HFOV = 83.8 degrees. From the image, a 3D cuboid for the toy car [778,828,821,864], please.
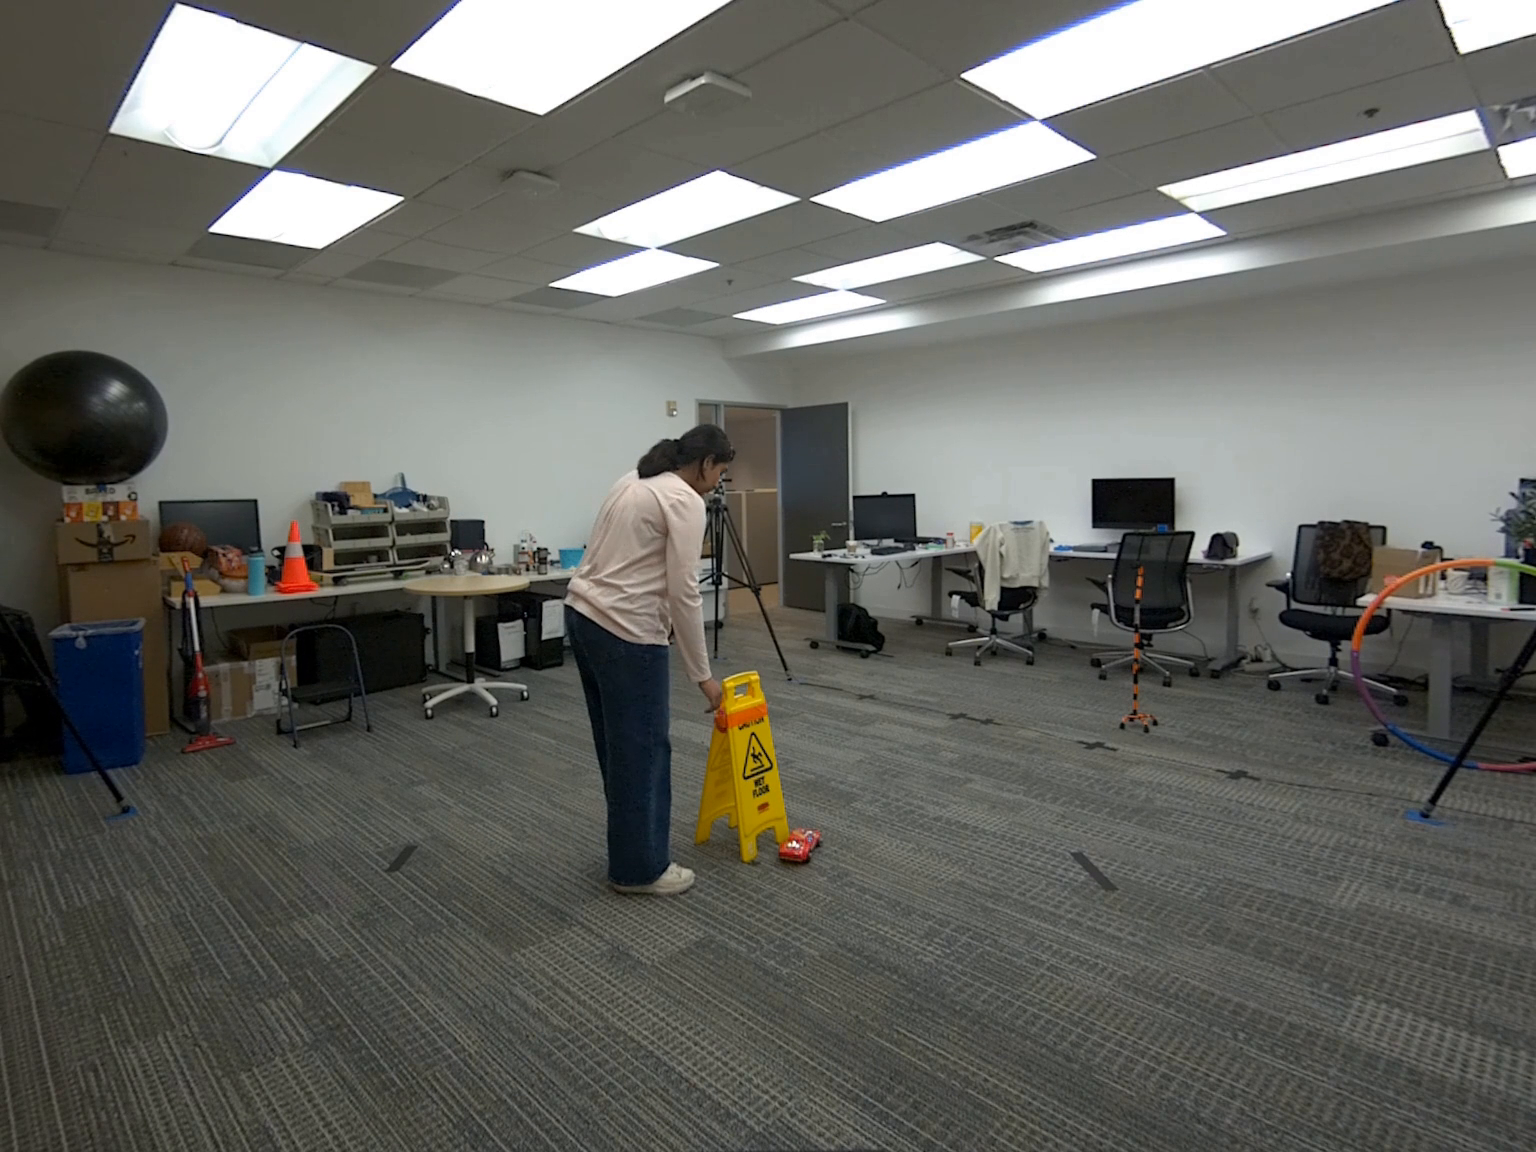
[{"bbox_3d":[0.114,1.000,3.168,0.133,0.083,0.248,4,-4,20],"label":"toy car"}]
